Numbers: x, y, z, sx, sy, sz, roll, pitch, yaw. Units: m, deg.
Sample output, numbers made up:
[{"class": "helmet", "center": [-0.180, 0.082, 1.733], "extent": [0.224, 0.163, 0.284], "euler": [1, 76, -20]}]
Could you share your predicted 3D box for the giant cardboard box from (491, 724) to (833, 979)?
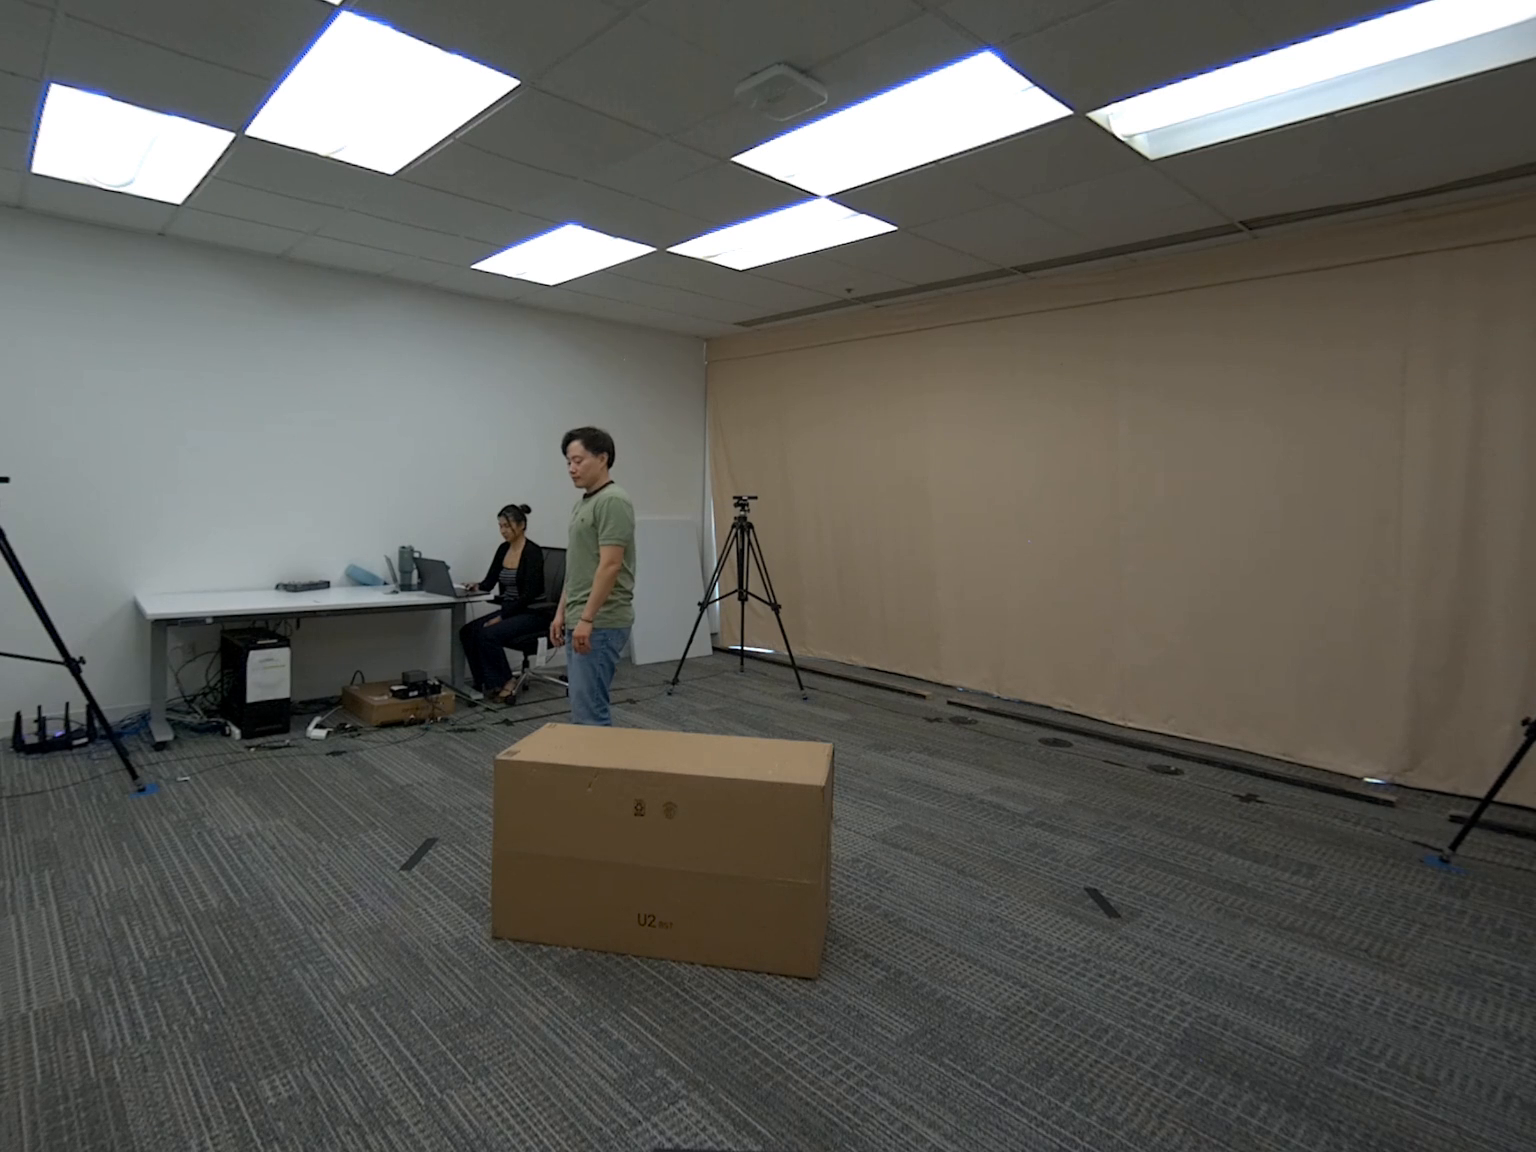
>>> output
[{"class": "giant cardboard box", "center": [-0.325, 0.843, 2.717], "extent": [1.035, 0.576, 0.423], "euler": [2, 4, 11]}]
